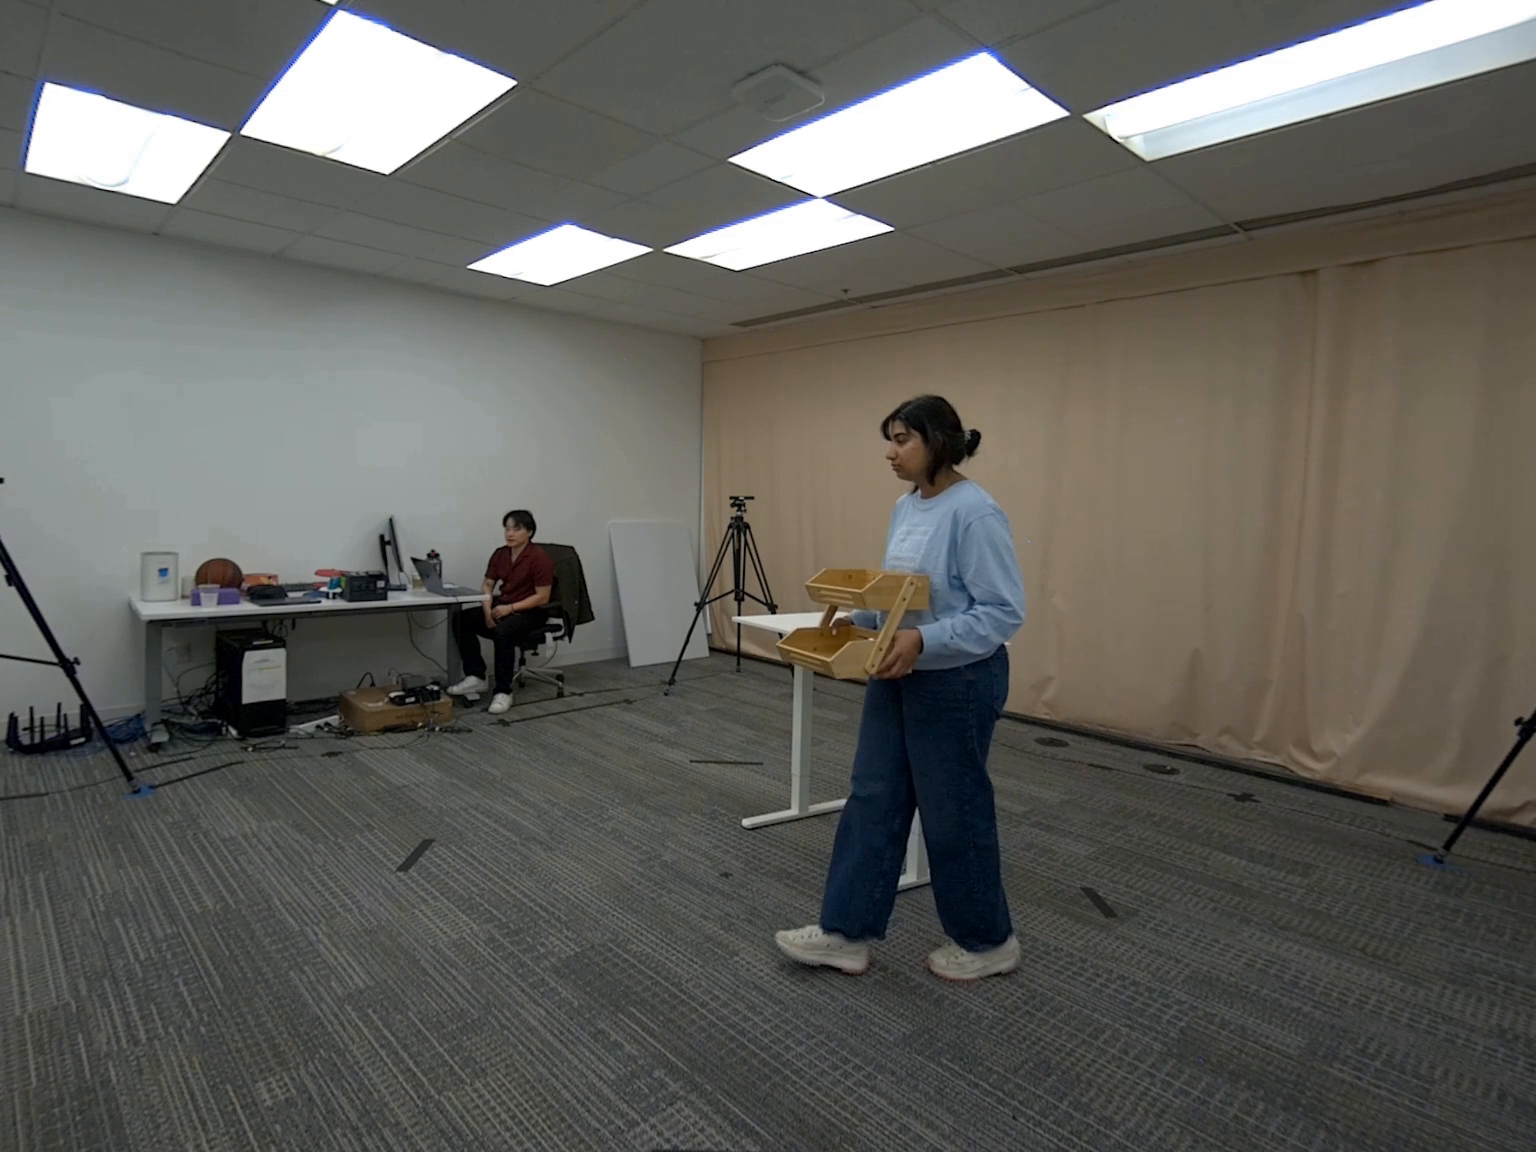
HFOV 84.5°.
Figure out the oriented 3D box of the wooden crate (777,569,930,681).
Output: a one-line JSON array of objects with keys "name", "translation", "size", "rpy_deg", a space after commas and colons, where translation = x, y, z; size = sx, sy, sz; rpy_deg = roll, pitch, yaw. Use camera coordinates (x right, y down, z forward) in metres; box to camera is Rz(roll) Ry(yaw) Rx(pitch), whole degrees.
[{"name": "wooden crate", "translation": [0.208, 0.115, 2.315], "size": [0.297, 0.273, 0.330], "rpy_deg": [2, 3, -23]}]
